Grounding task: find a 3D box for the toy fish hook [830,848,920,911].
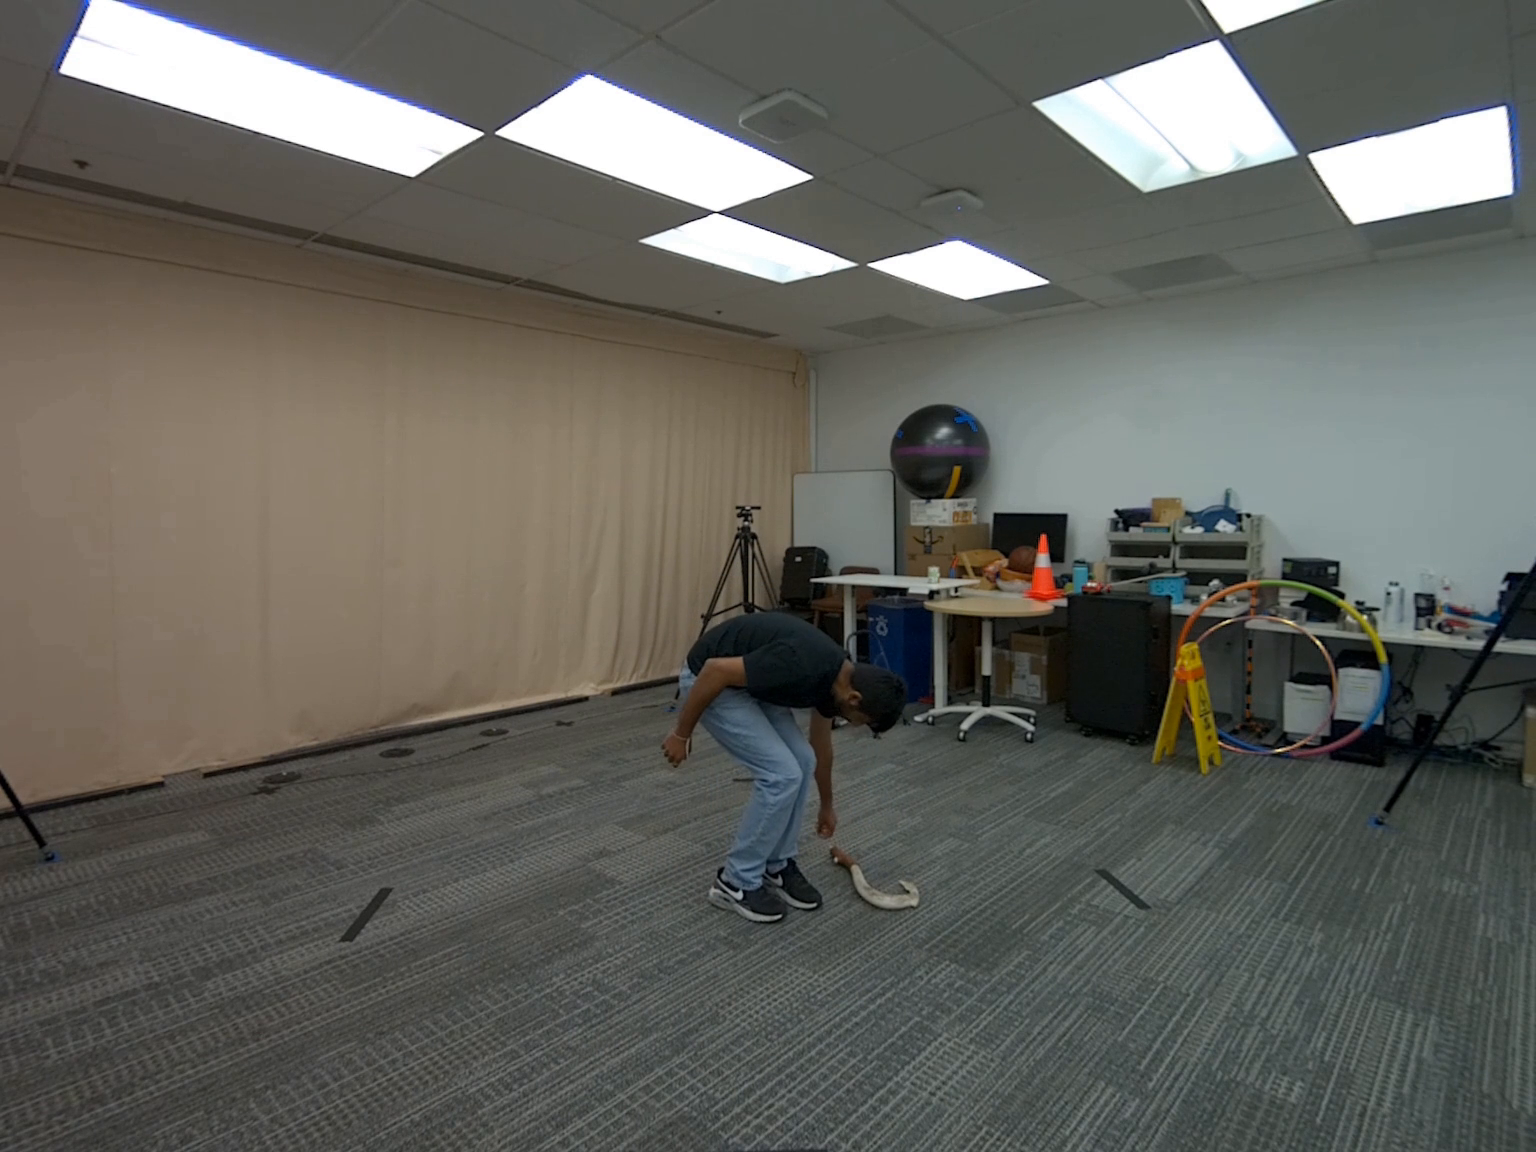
[{"bbox_3d":[0.391,1.114,3.133,0.220,0.048,0.517,7,3,-18],"label":"toy fish hook"}]
